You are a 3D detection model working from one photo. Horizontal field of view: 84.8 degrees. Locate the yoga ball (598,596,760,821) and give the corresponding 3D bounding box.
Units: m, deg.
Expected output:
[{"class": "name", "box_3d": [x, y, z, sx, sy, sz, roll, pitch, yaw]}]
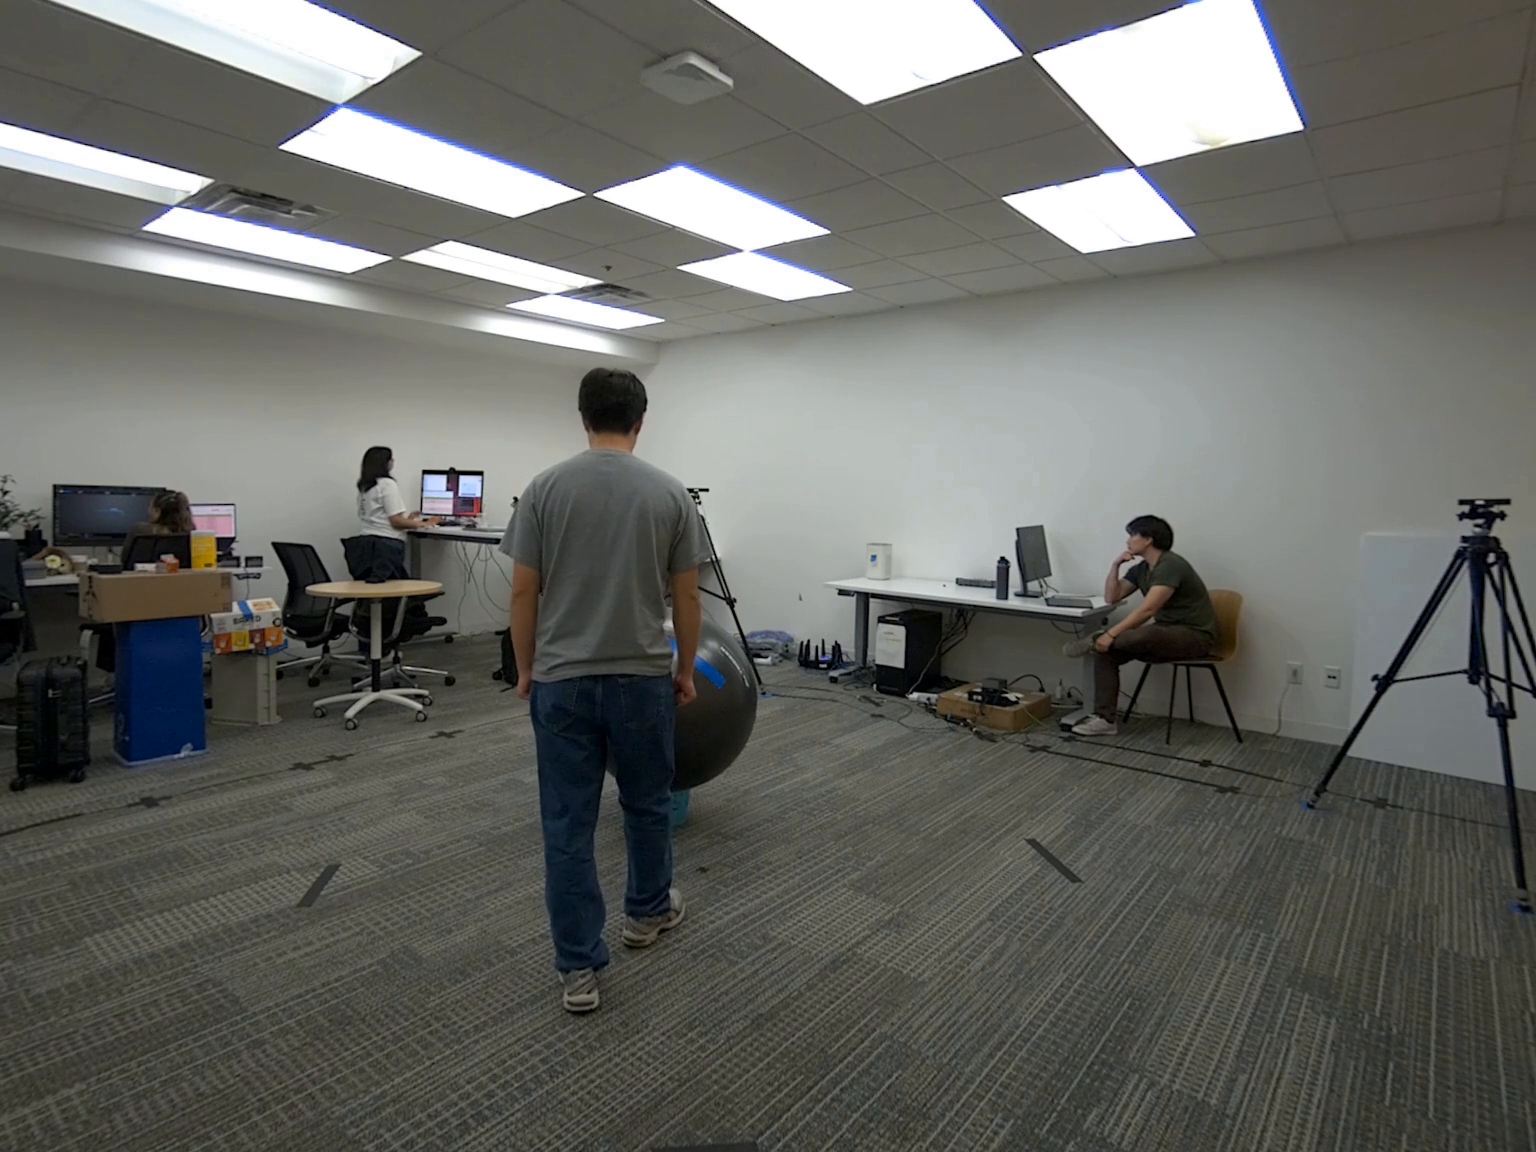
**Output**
[{"class": "yoga ball", "box_3d": [-0.442, 0.509, 3.554, 0.757, 0.756, 0.761, 1, 4, -2]}]
